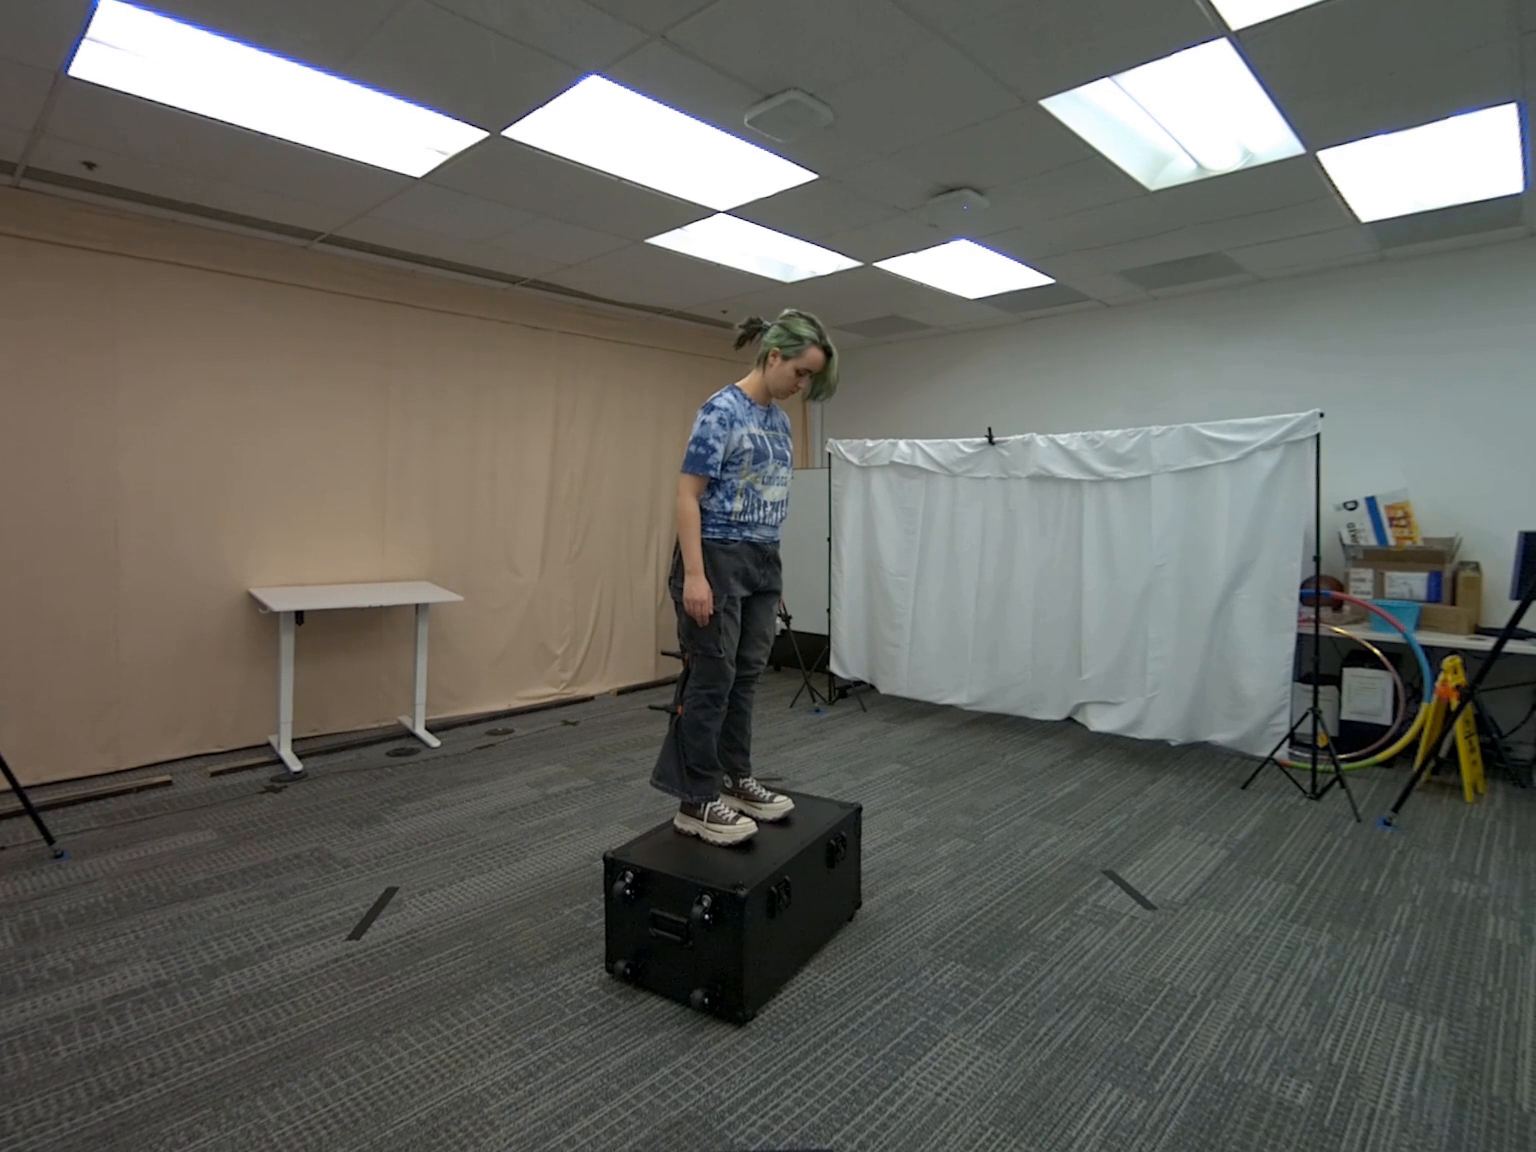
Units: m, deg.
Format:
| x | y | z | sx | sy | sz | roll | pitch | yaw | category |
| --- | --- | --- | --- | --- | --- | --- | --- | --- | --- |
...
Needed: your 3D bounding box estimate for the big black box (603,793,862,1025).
| x | y | z | sx | sy | sz | roll | pitch | yaw | category |
| --- | --- | --- | --- | --- | --- | --- | --- | --- | --- |
| -0.097 | 0.986 | 2.641 | 0.537 | 0.395 | 0.838 | 3 | 5 | 31 | big black box |
